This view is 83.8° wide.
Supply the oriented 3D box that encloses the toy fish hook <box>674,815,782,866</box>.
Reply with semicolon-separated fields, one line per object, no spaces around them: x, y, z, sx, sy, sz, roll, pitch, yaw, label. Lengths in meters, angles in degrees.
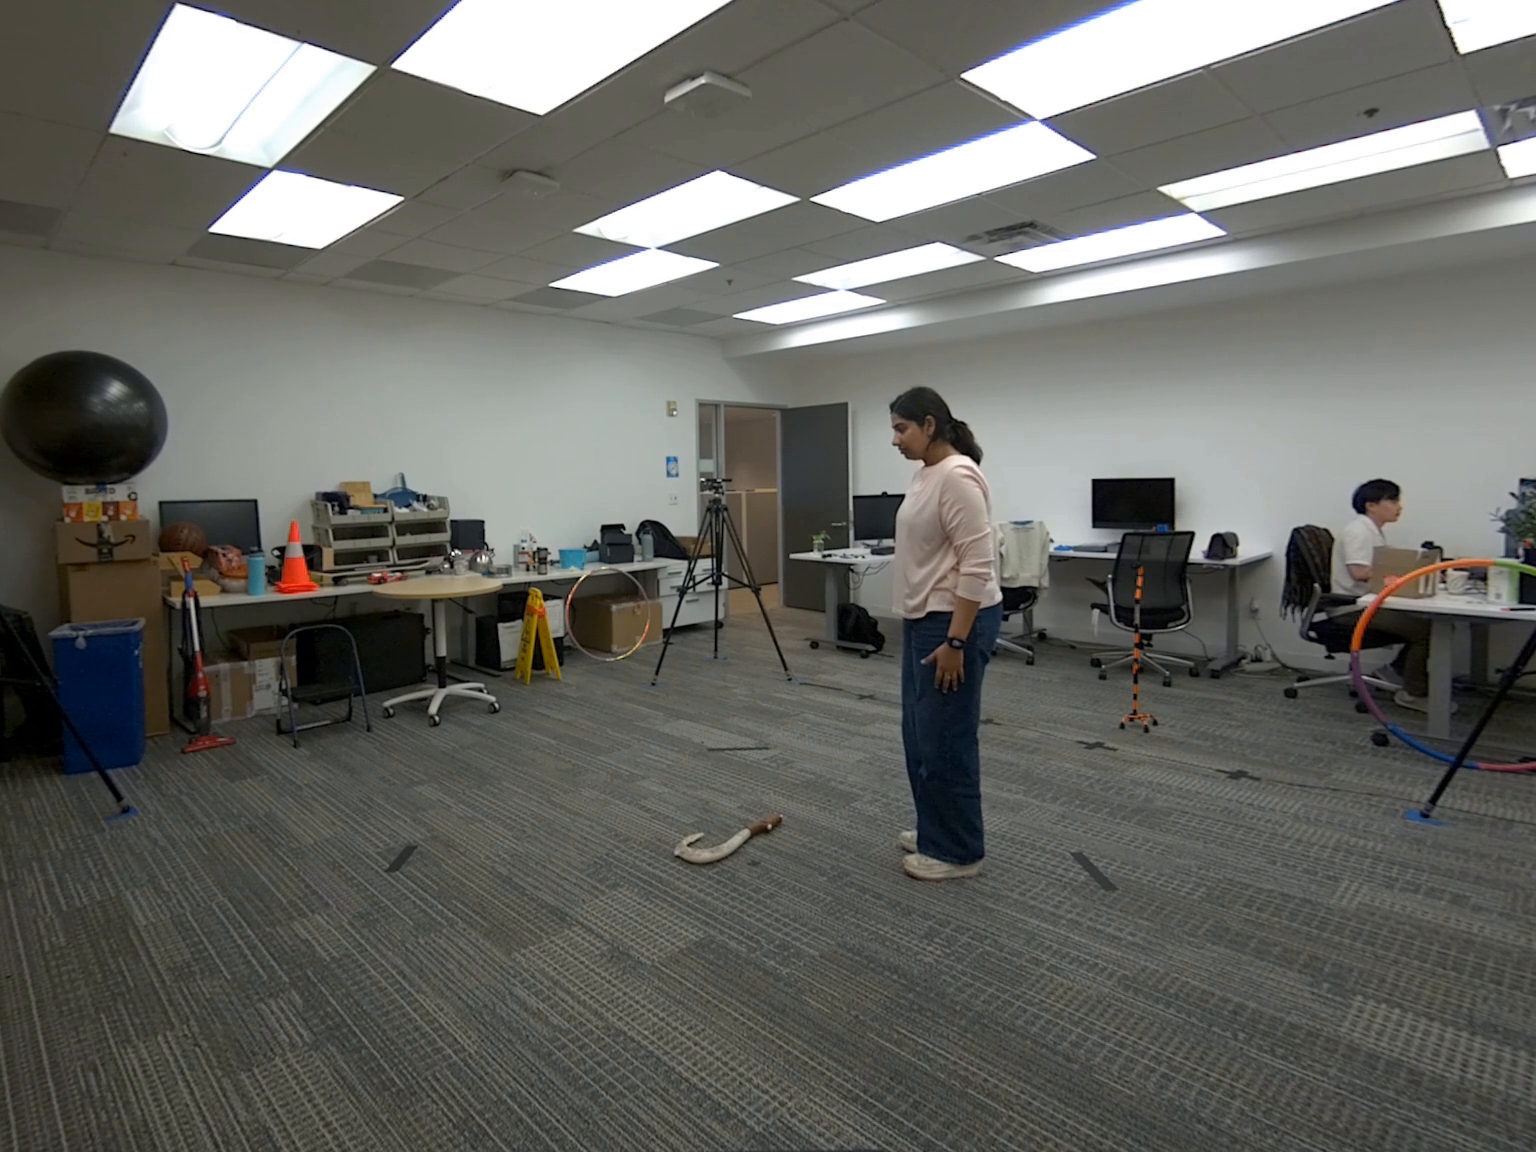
-0.149;1.000;3.309;0.232;0.048;0.493;8;10;41;toy fish hook
